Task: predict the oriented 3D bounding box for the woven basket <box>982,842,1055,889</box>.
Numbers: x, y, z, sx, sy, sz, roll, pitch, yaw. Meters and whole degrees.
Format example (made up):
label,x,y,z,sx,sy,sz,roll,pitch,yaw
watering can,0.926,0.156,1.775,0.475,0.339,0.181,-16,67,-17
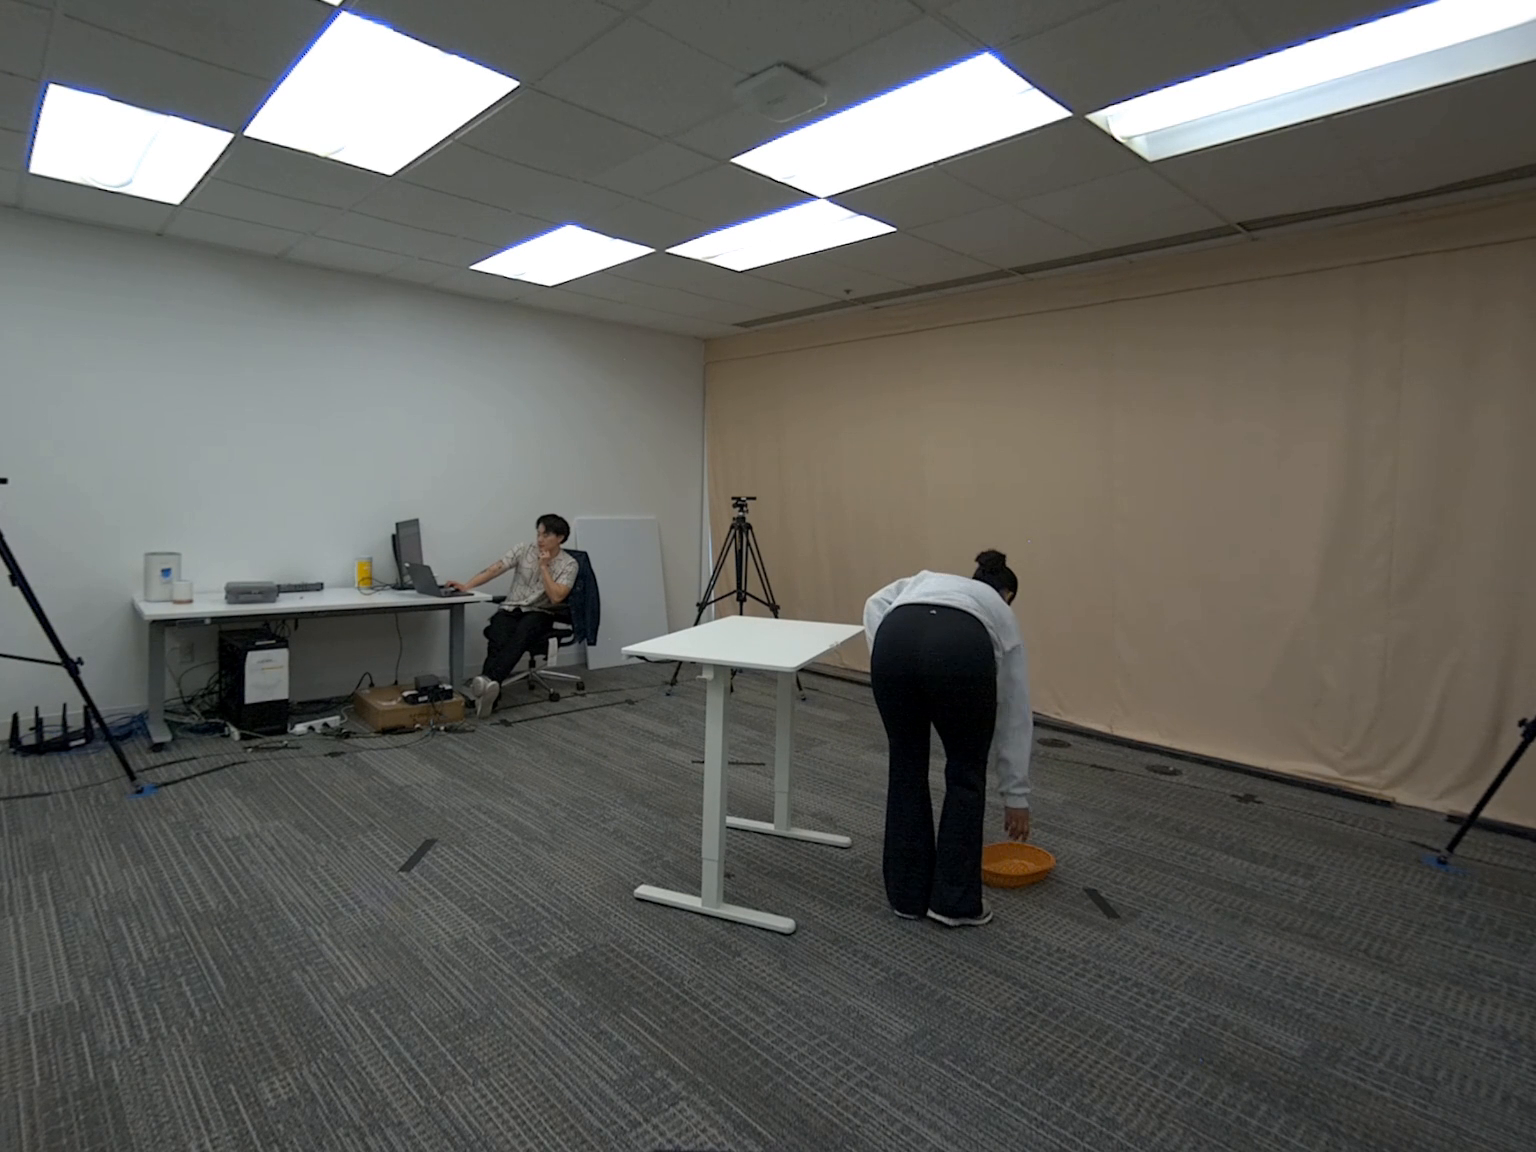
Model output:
label,x,y,z,sx,sy,sz,roll,pitch,yaw
woven basket,0.904,1.087,3.174,0.344,0.073,0.258,-1,6,-28
